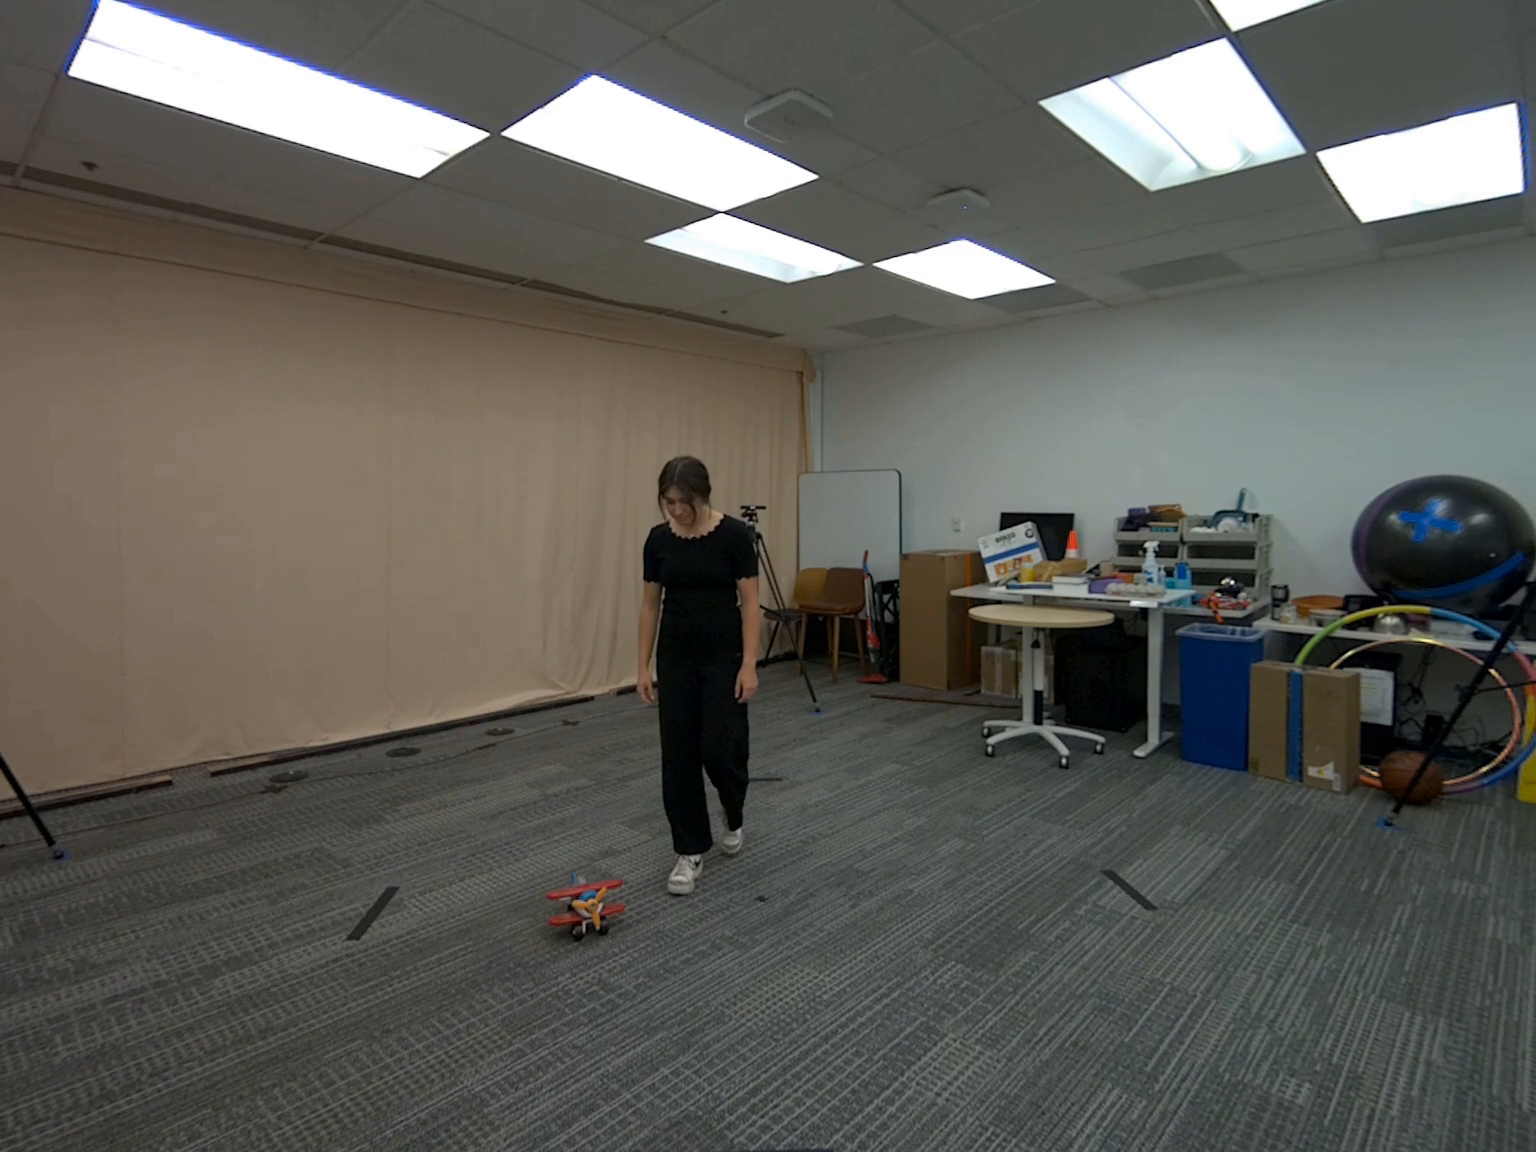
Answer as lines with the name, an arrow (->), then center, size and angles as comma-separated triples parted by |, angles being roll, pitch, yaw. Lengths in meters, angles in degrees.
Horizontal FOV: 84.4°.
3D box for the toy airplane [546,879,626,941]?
toy airplane -> -0.628, 1.089, 2.790 | 0.267, 0.156, 0.244 | 4, 7, 36
